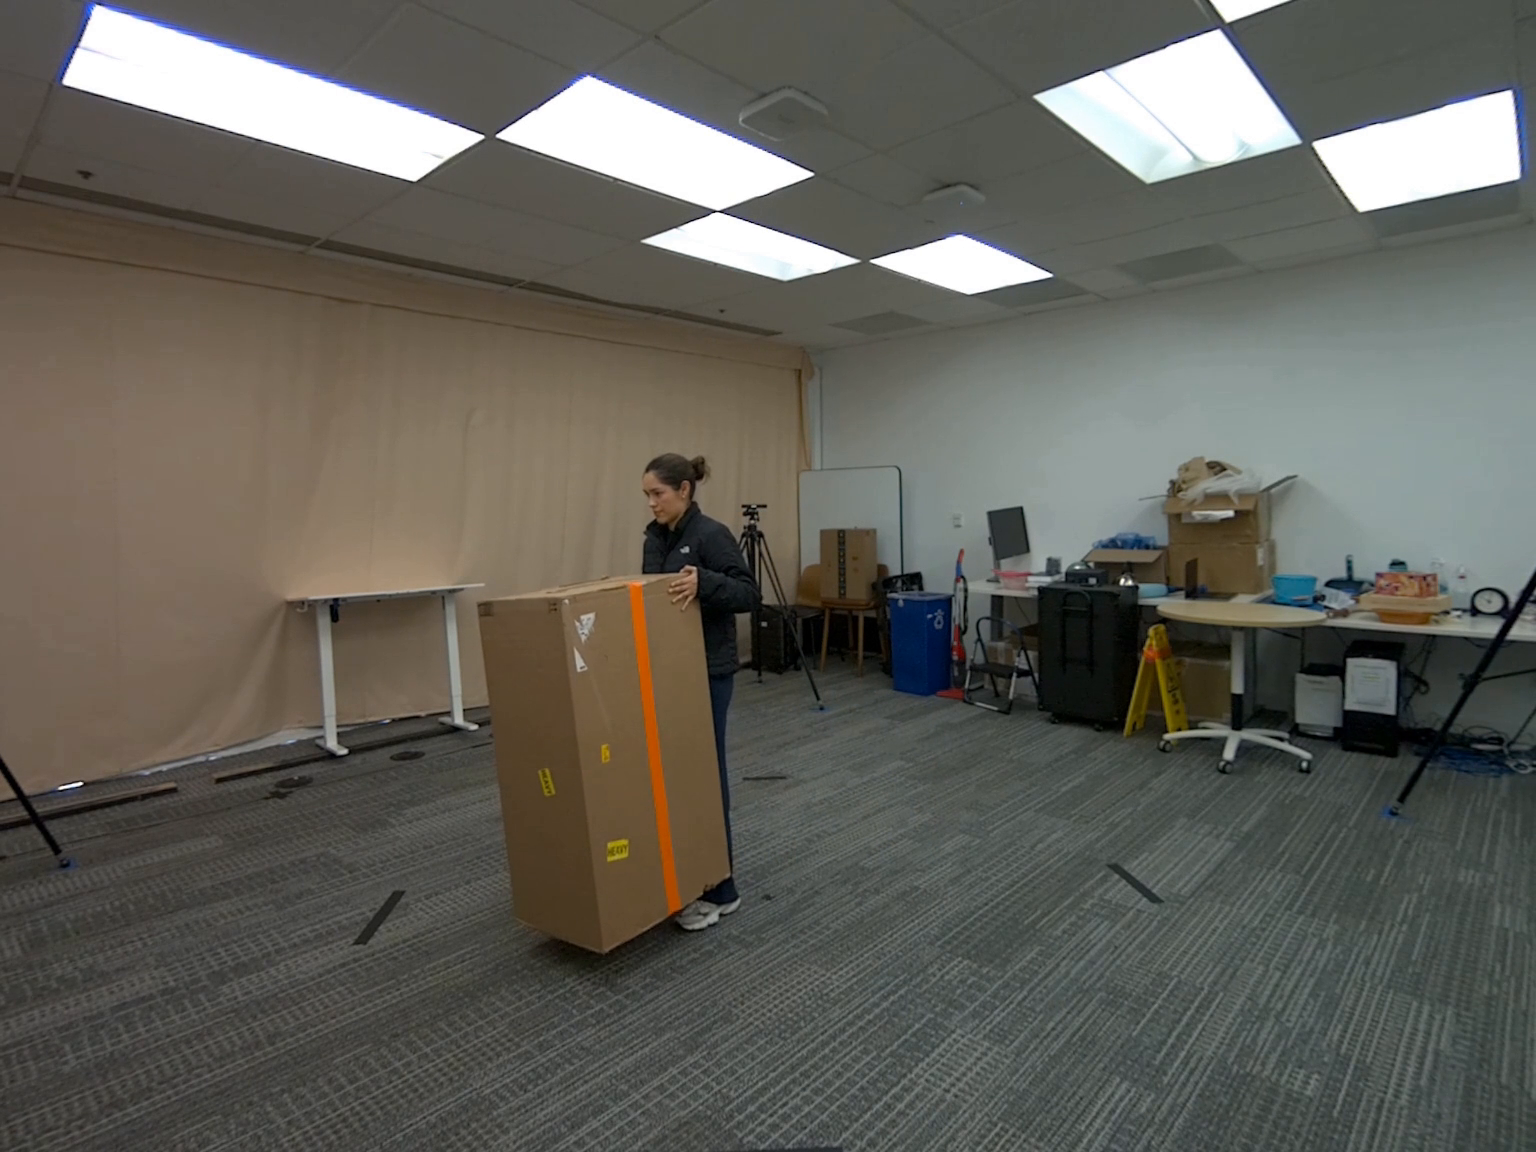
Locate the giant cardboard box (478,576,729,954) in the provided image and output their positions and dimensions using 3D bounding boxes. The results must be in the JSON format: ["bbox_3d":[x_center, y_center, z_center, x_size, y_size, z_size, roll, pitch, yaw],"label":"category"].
[{"bbox_3d":[-0.507,0.546,2.708,0.439,1.024,0.561,-5,3,40],"label":"giant cardboard box"}]
